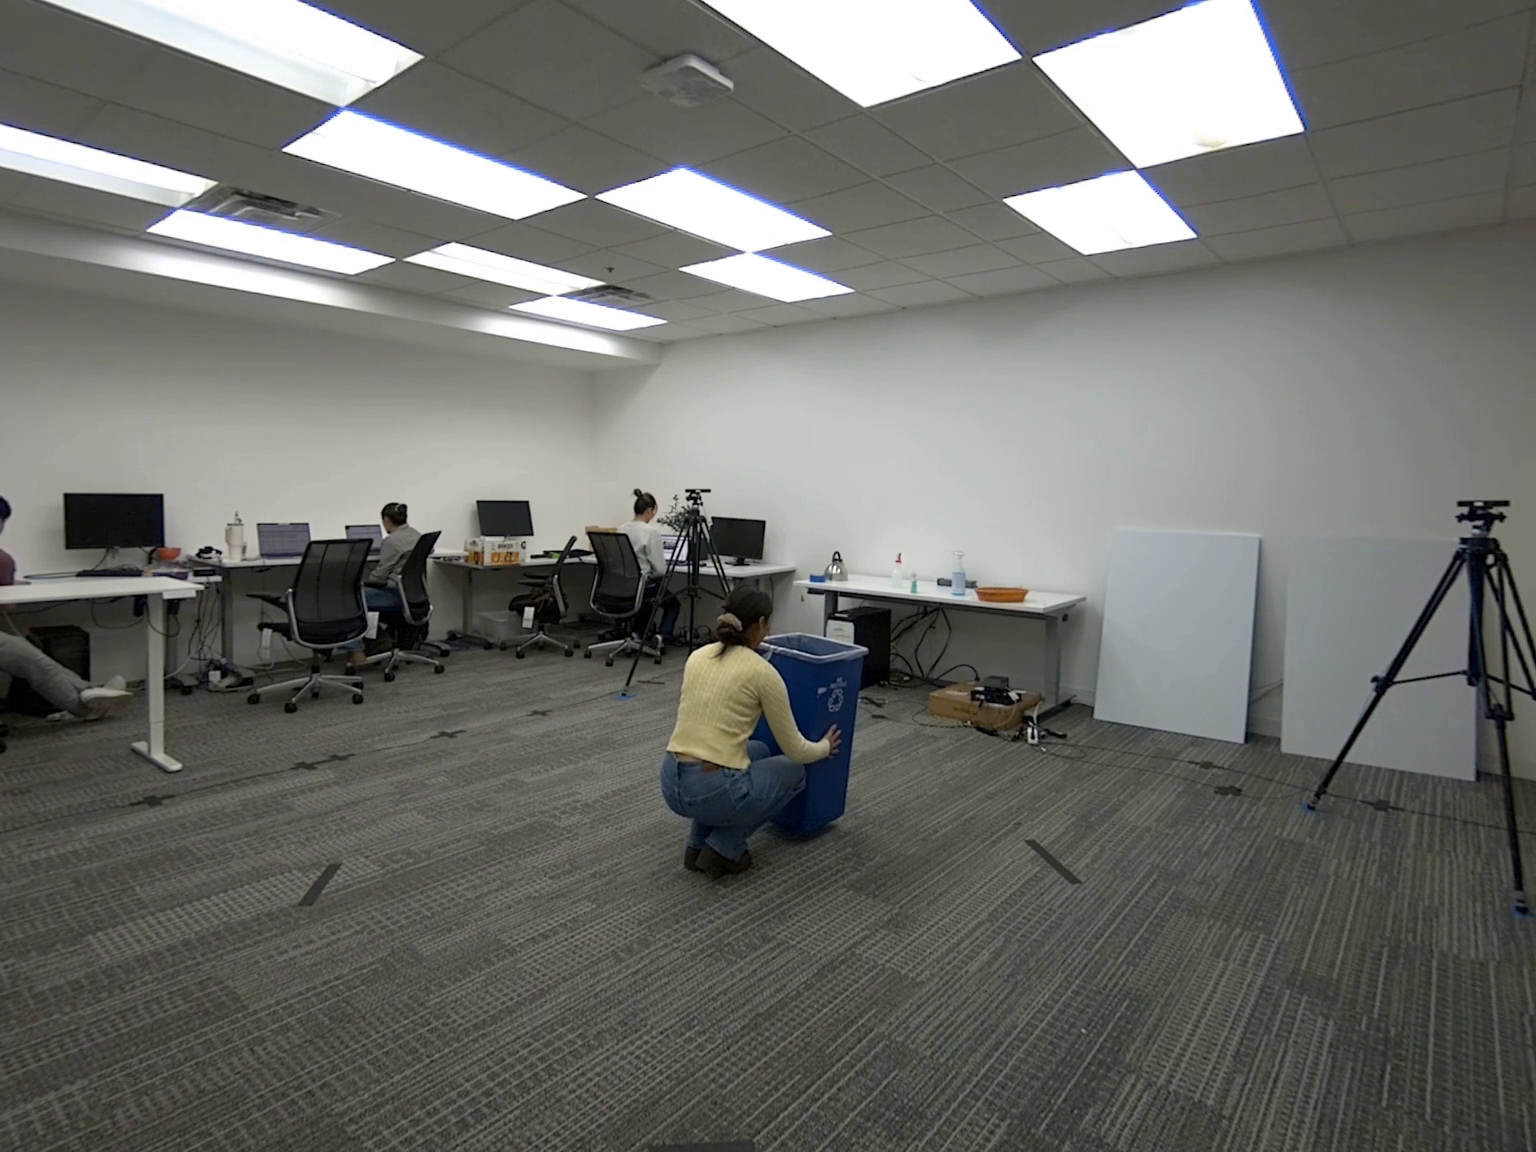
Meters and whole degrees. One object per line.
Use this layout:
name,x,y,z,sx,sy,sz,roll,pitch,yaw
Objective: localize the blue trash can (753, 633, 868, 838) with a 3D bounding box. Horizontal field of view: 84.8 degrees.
blue trash can,0.133,0.628,3.515,0.391,0.711,0.362,8,6,39
